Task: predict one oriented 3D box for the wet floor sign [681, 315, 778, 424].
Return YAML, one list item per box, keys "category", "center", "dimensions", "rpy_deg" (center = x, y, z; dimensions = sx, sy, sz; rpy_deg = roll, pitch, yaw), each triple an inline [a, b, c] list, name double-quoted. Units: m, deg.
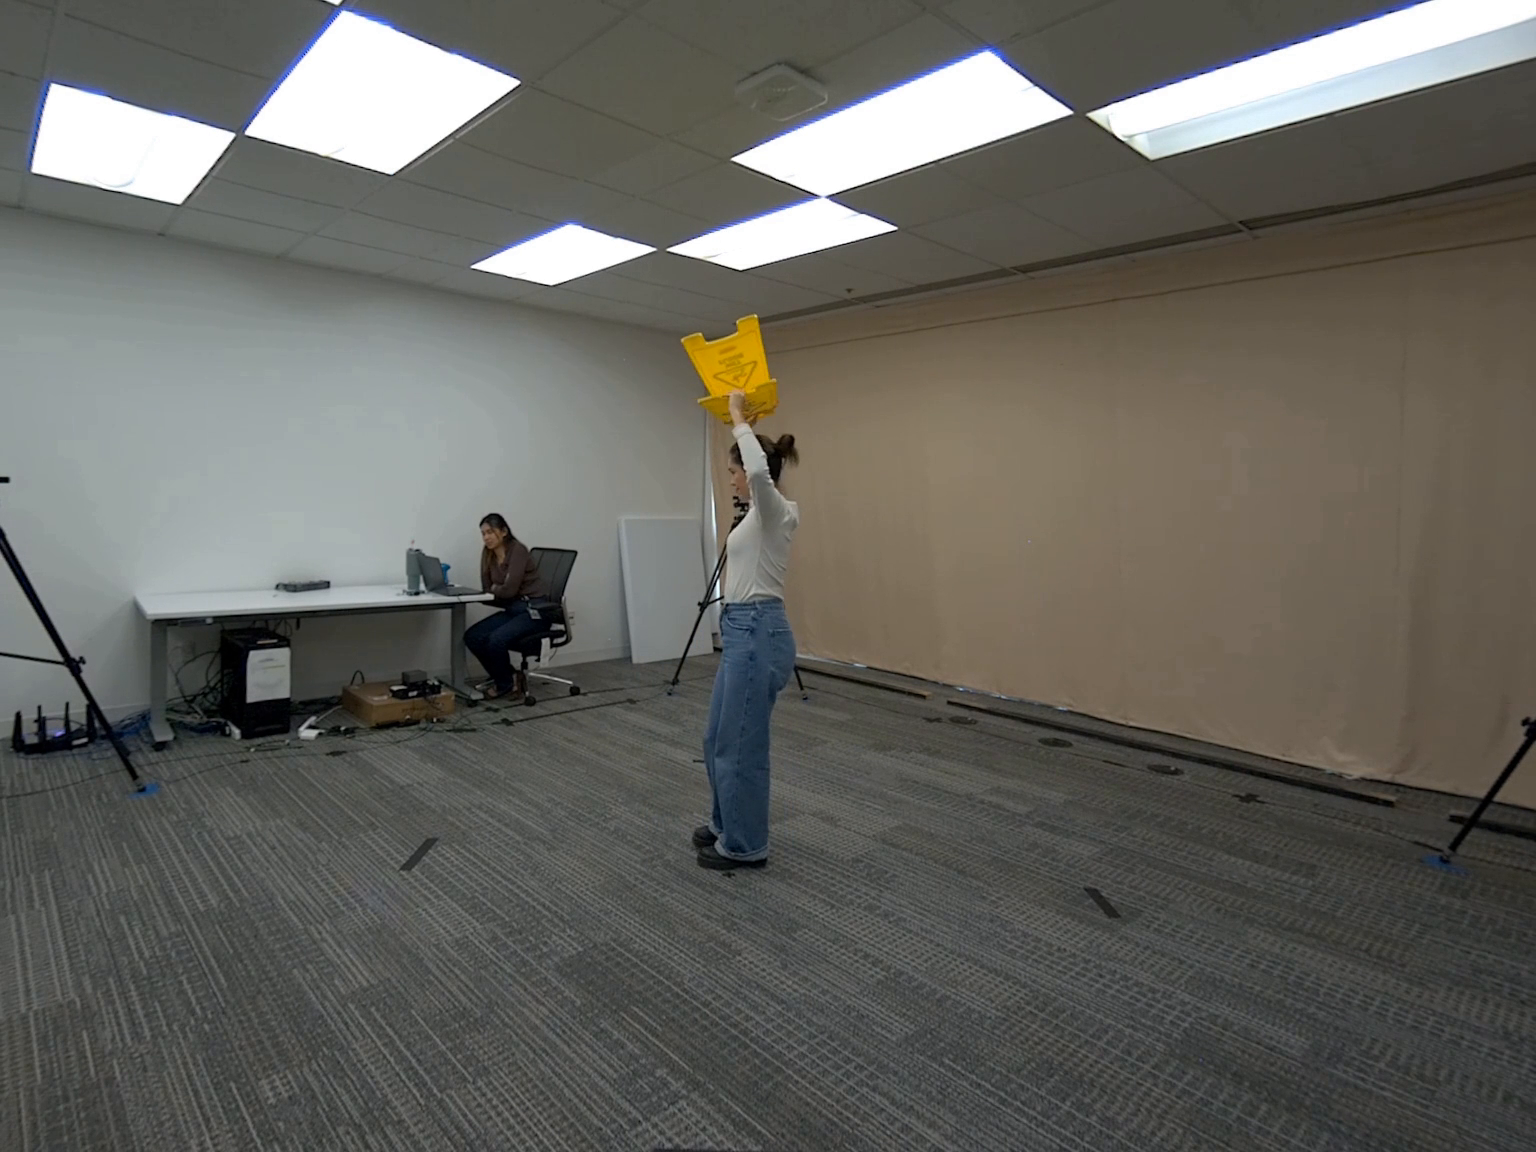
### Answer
- category: "wet floor sign"
  center: [-0.106, -0.706, 3.228]
  dimensions: [0.283, 0.292, 0.638]
  rpy_deg: [-16, -8, 4]
